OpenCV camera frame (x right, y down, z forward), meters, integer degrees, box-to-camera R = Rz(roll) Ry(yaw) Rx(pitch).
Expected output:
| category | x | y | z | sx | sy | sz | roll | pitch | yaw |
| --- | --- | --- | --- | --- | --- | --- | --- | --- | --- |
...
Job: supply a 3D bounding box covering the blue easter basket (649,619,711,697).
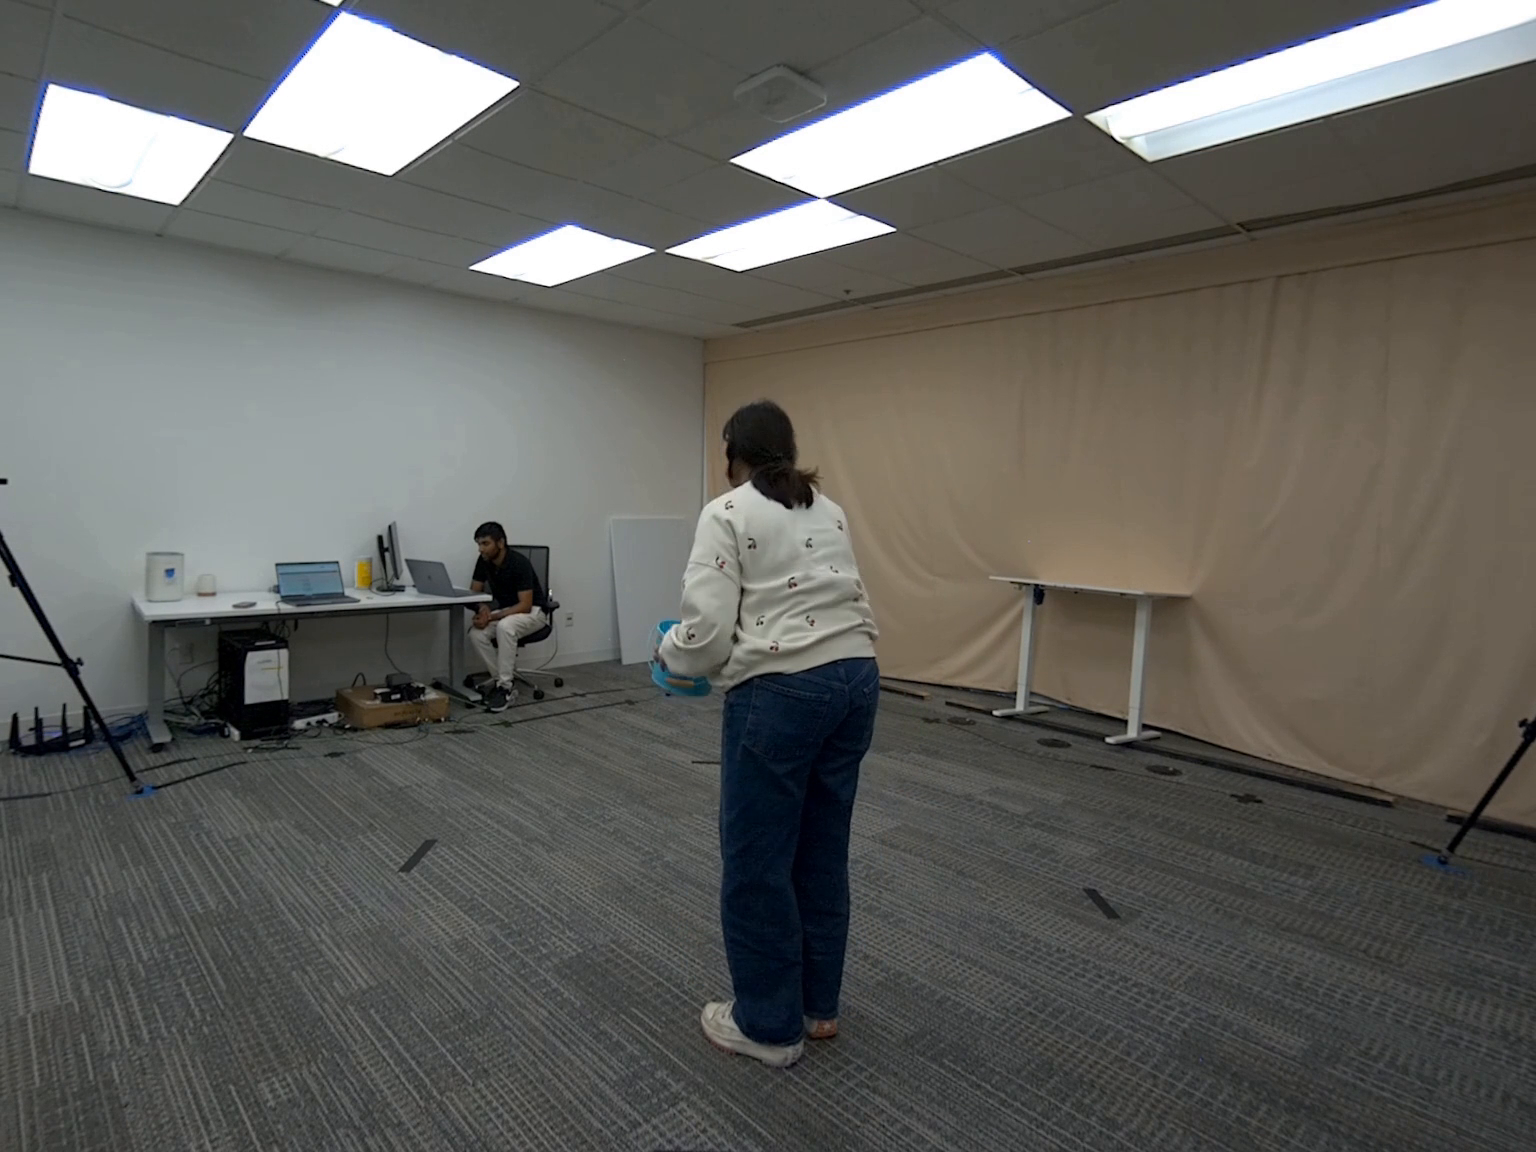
| category | x | y | z | sx | sy | sz | roll | pitch | yaw |
| --- | --- | --- | --- | --- | --- | --- | --- | --- | --- |
| blue easter basket | -0.238 | 0.254 | 2.427 | 0.243 | 0.155 | 0.246 | 13 | 13 | -4 |
